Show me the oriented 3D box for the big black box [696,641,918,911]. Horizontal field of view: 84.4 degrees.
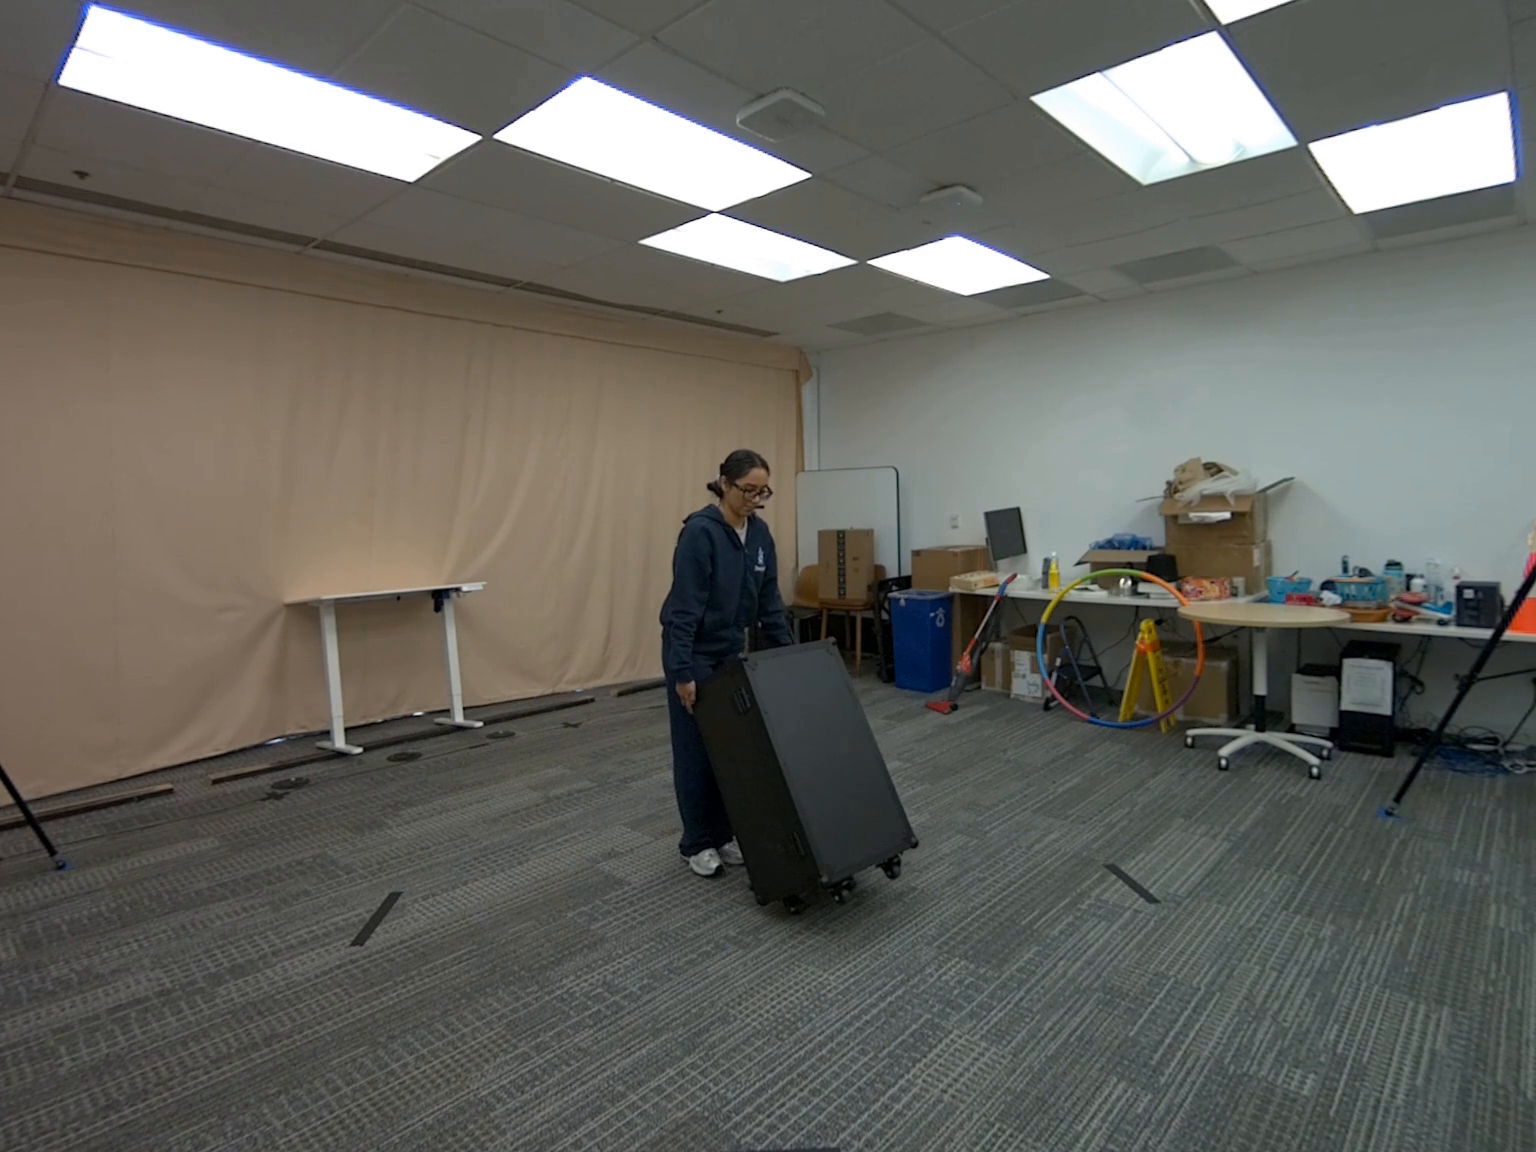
[{"bbox_3d":[0.117,0.715,3.006,0.505,0.877,0.401,-4,-26,-42],"label":"big black box"}]
